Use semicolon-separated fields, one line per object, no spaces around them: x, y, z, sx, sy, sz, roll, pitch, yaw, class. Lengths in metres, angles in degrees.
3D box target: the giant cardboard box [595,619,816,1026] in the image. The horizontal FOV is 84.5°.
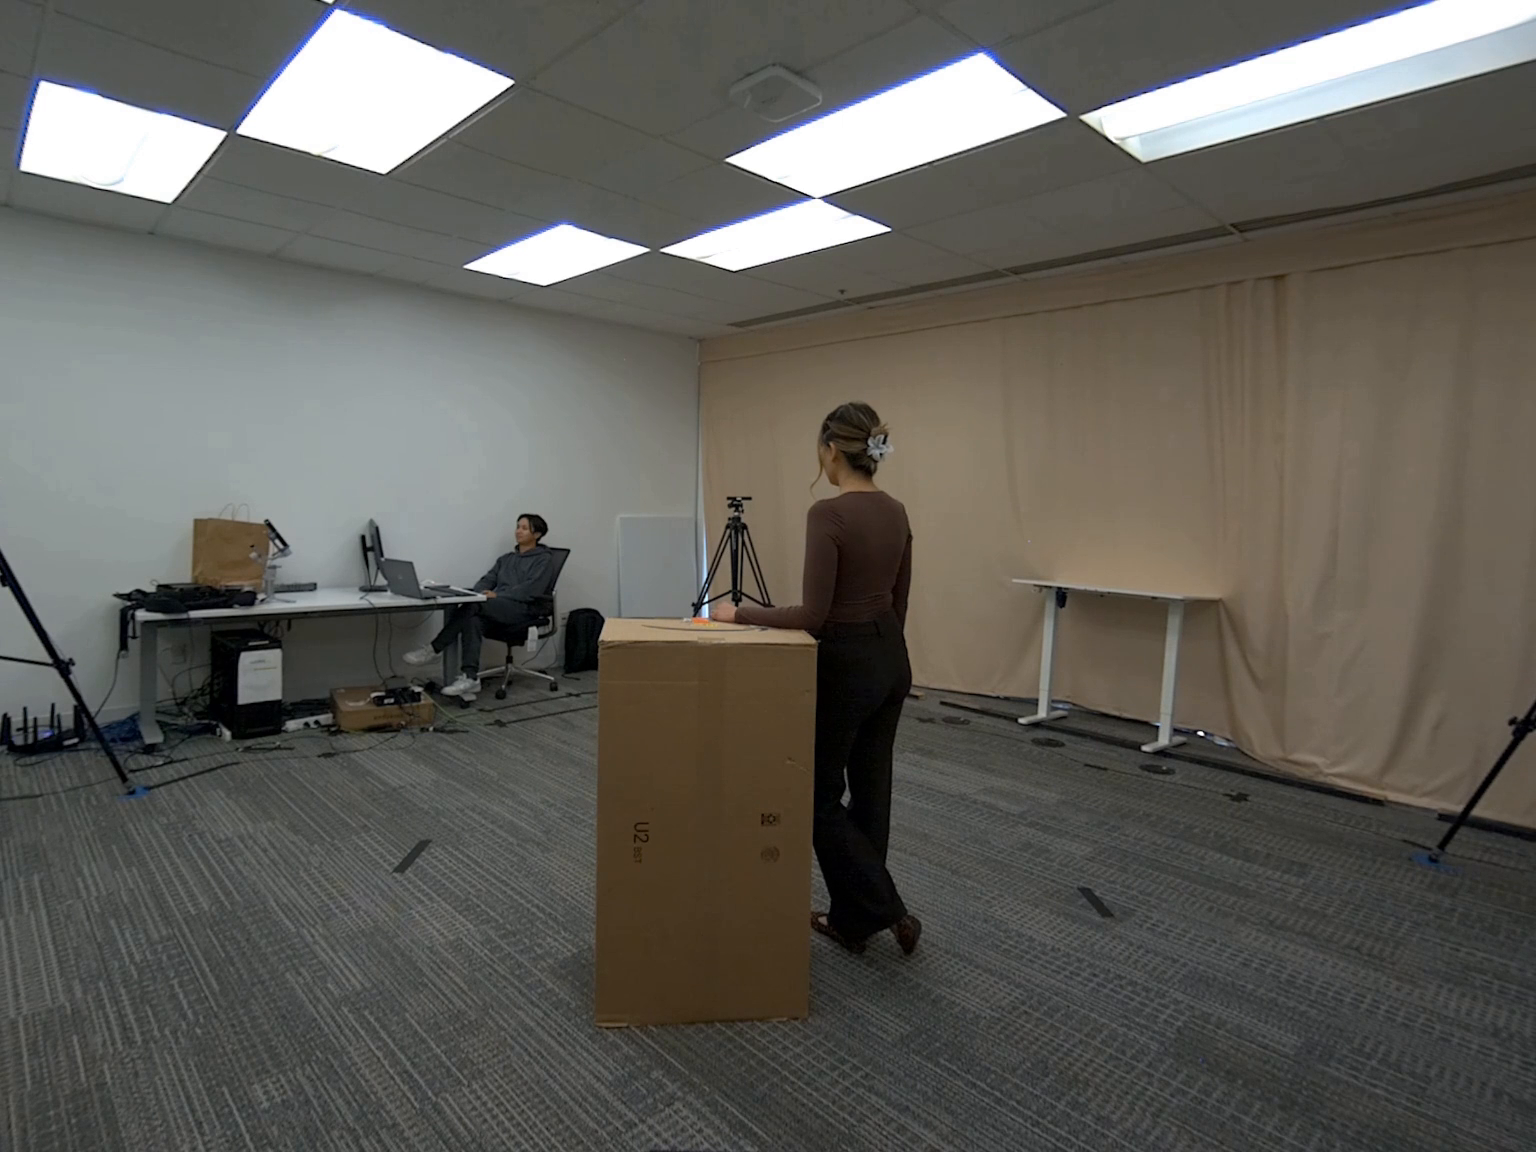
-0.202;0.660;2.410;0.580;1.024;0.450;1;3;-7;giant cardboard box
